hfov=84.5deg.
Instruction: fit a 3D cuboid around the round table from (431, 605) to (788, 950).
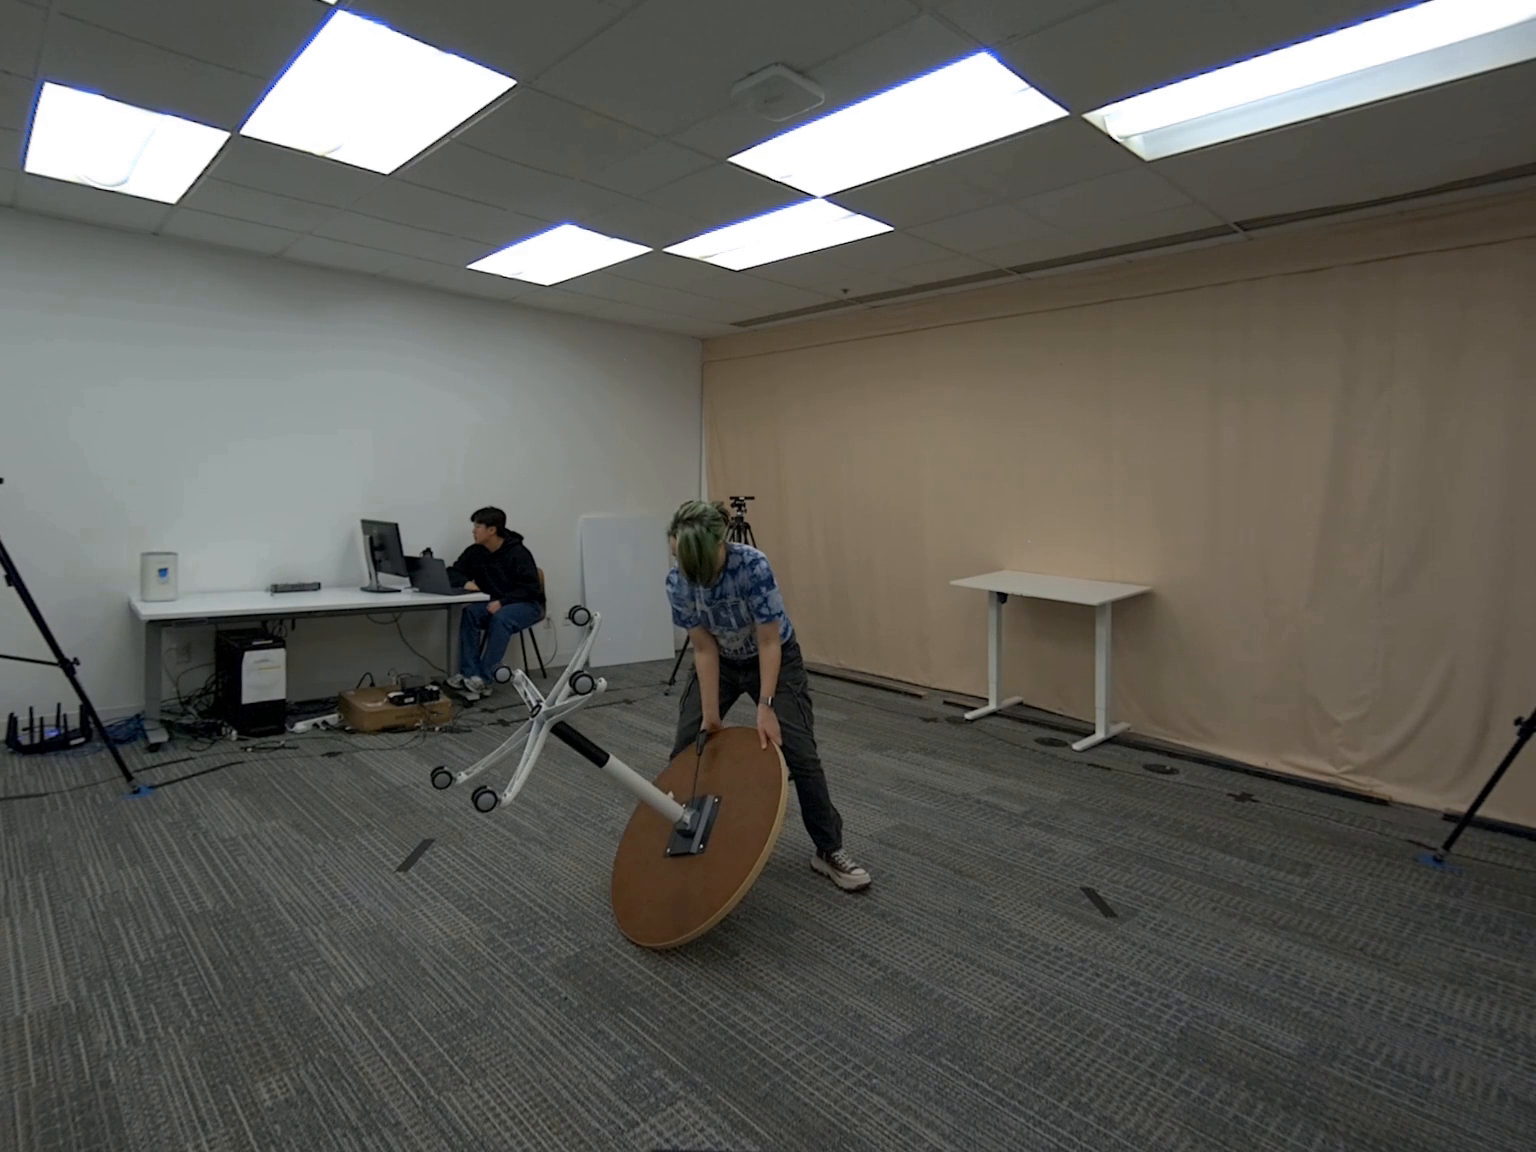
[{"bbox_3d":[-0.496,0.600,2.608,0.775,0.765,0.781,43,-16,-25],"label":"round table"}]
